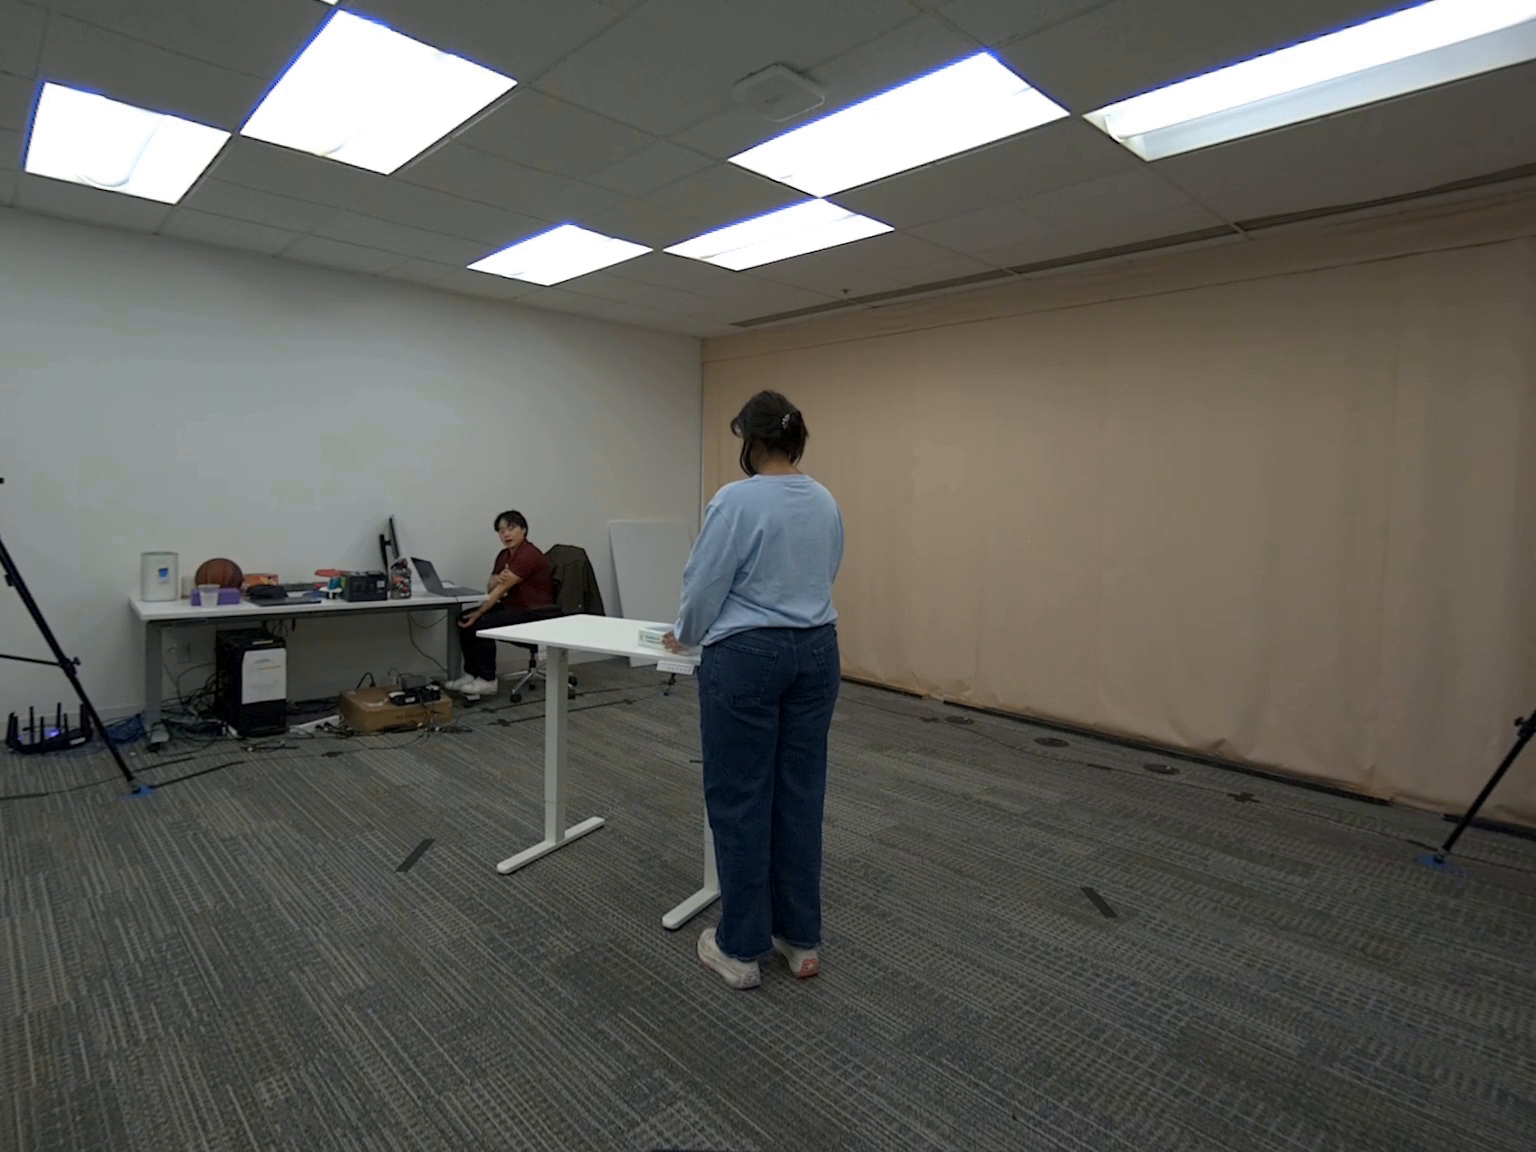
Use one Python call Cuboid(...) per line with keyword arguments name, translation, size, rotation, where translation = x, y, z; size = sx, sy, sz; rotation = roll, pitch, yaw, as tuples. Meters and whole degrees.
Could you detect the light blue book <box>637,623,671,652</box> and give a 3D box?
Cuboid(name="light blue book", translation=(-0.301, 0.224, 2.823), size=(0.268, 0.059, 0.187), rotation=(9, 8, 43))
